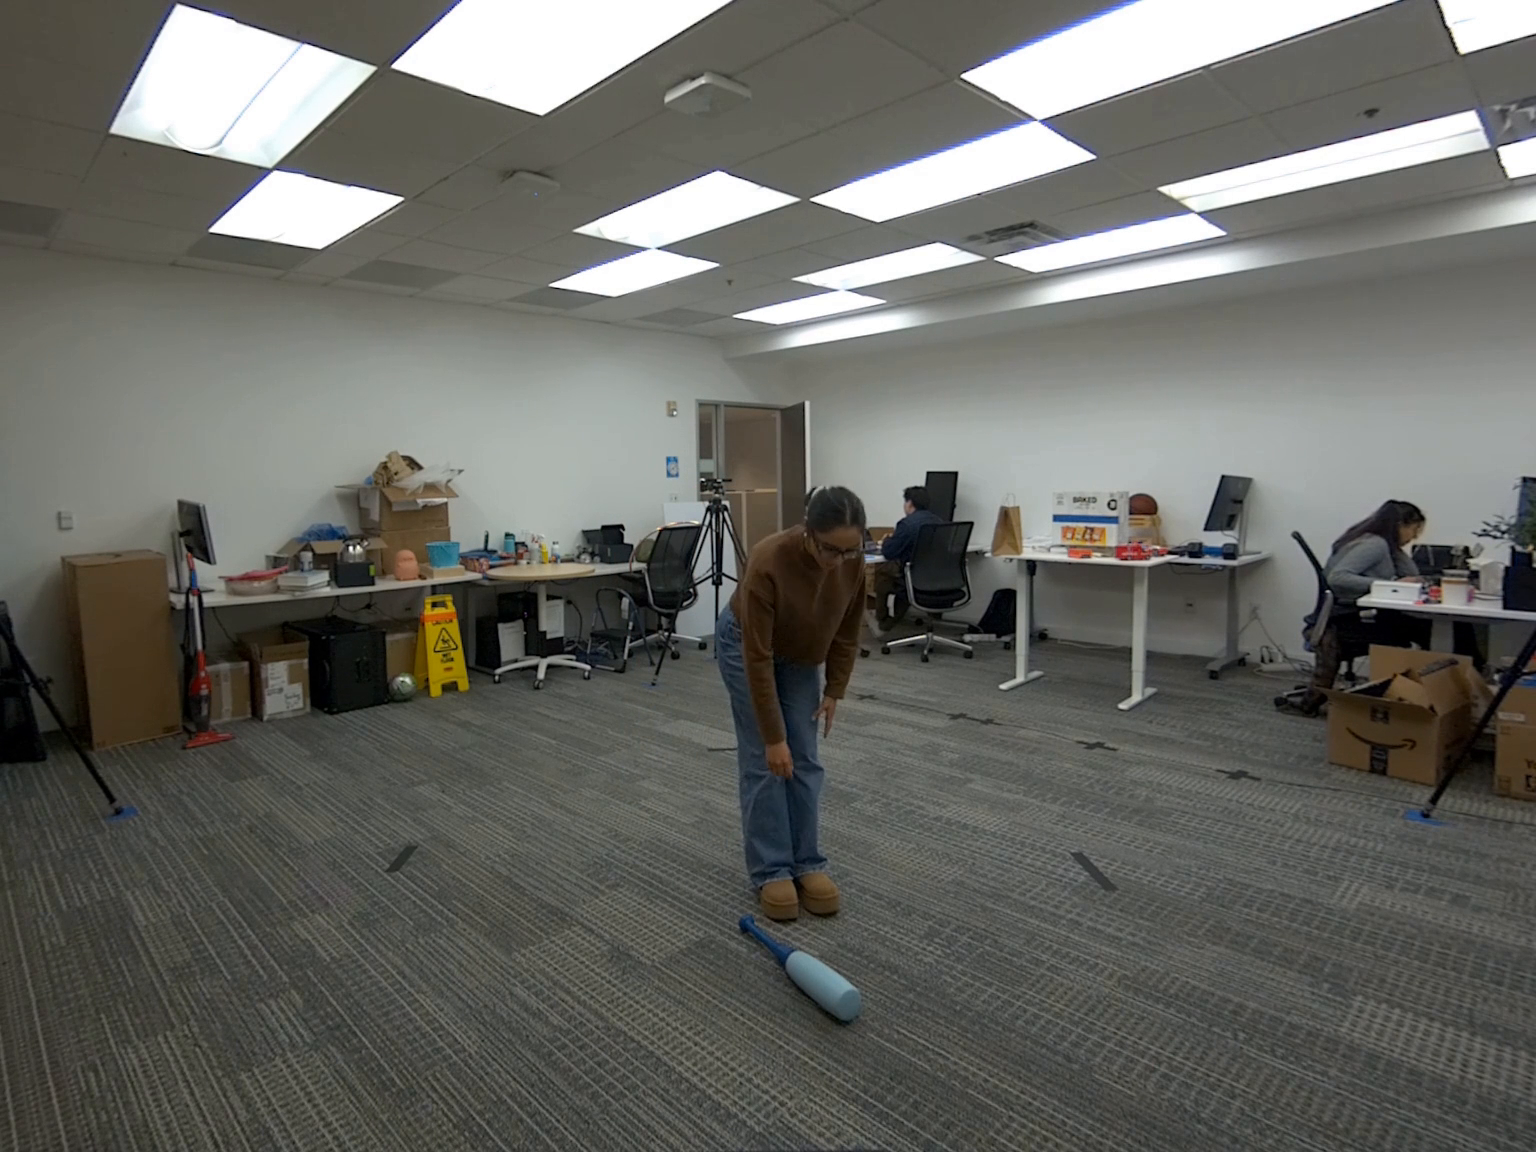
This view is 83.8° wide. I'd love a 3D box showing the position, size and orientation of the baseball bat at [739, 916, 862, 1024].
[{"bbox_3d":[0.072,1.096,2.411,0.087,0.089,0.556,-4,3,-30],"label":"baseball bat"}]
